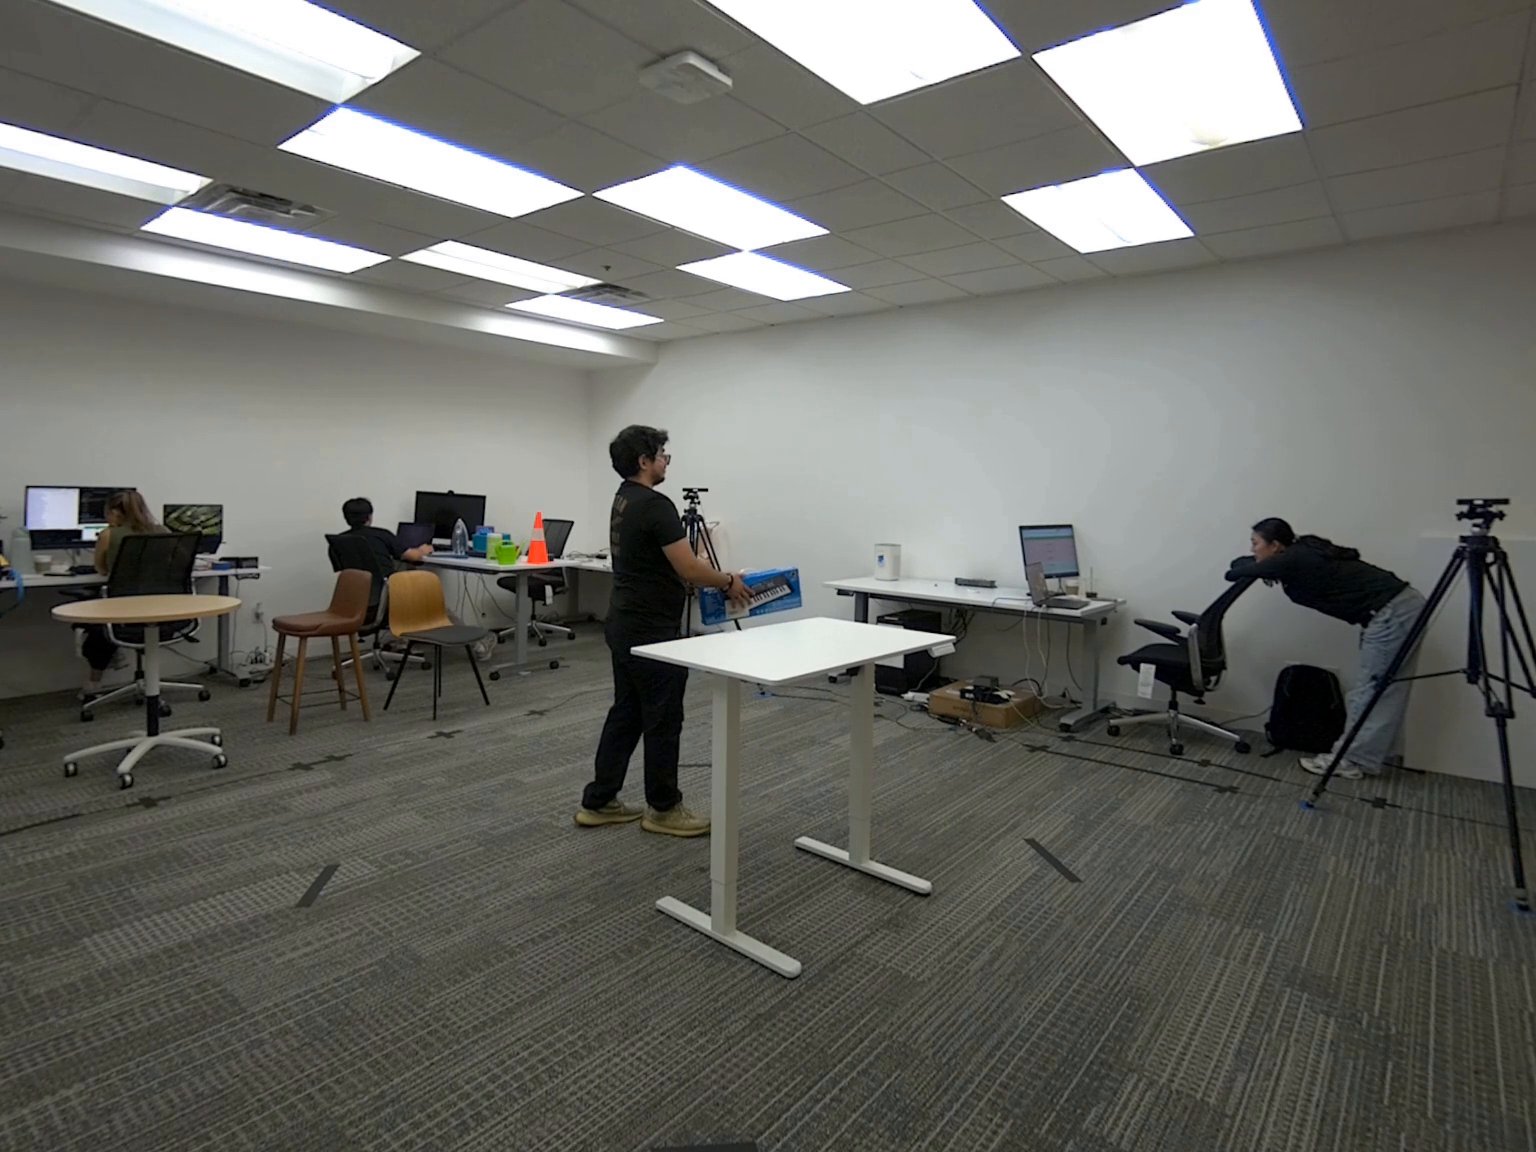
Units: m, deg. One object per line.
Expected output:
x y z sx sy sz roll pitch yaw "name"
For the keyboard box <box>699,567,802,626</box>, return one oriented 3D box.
-0.085 0.084 3.602 0.431 0.174 0.060 -10 10 -14 "keyboard box"
